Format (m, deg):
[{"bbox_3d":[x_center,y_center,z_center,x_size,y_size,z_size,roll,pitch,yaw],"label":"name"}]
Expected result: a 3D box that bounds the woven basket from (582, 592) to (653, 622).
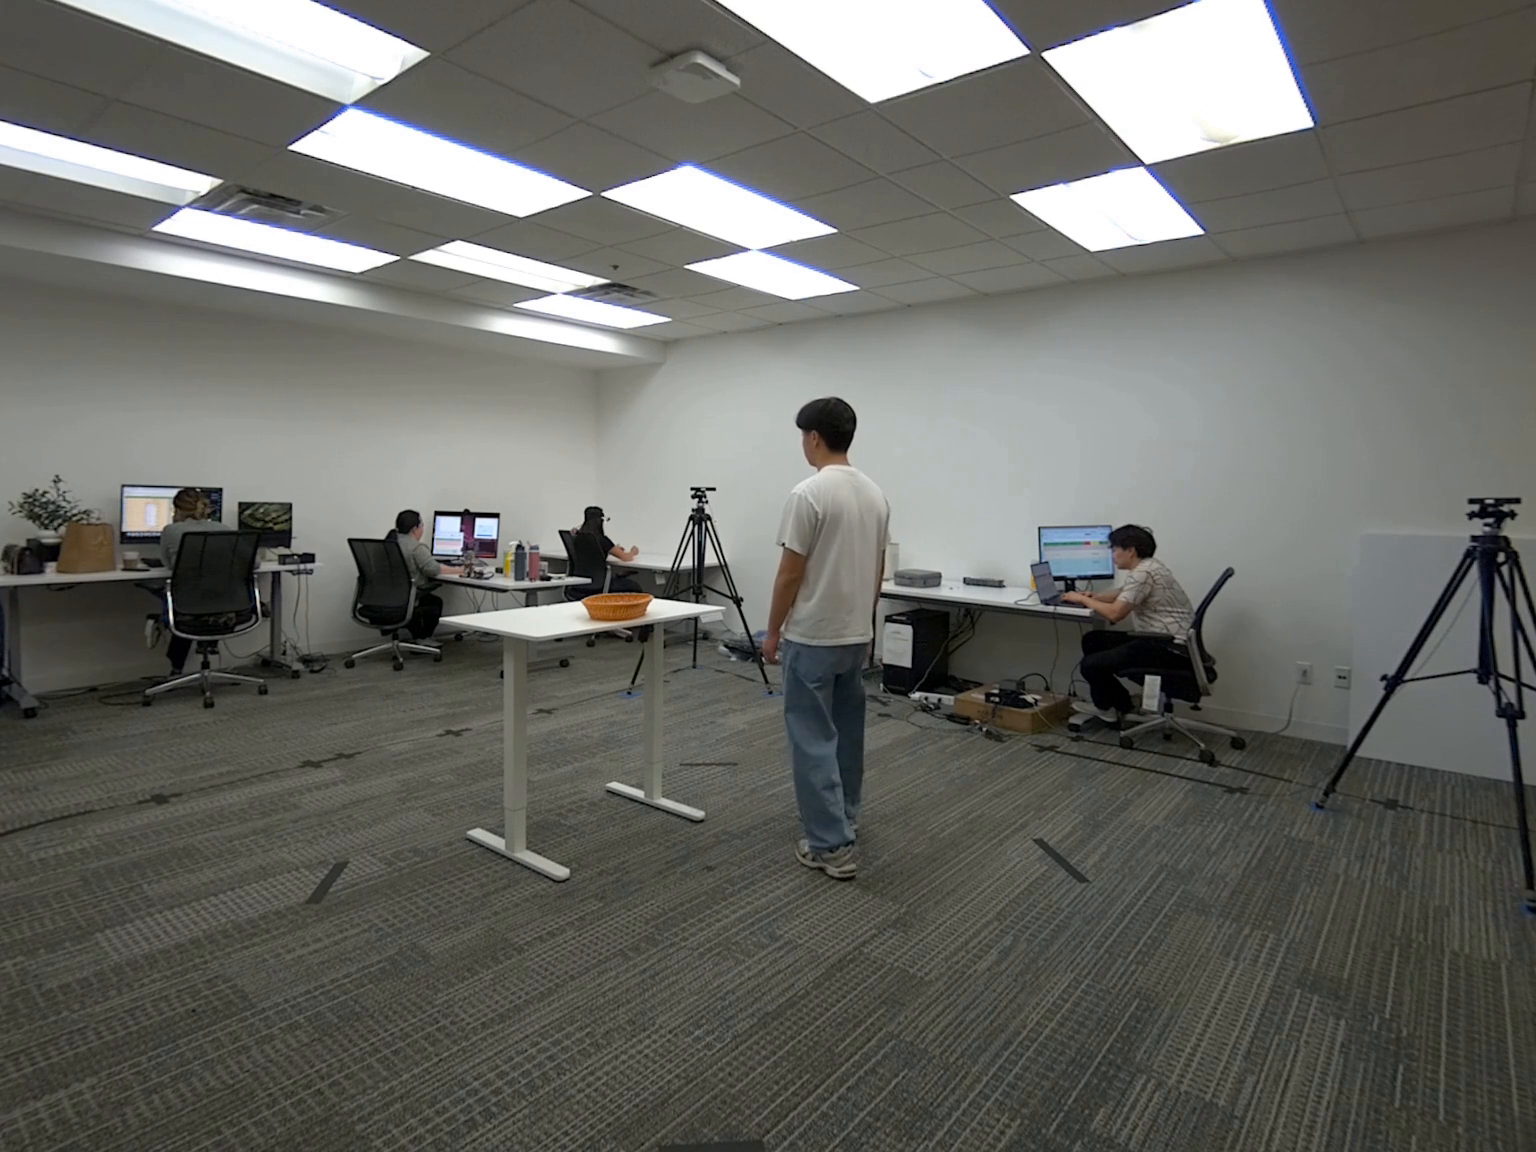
[{"bbox_3d":[-0.603,0.123,3.346,0.257,0.073,0.345,3,6,17],"label":"woven basket"}]
